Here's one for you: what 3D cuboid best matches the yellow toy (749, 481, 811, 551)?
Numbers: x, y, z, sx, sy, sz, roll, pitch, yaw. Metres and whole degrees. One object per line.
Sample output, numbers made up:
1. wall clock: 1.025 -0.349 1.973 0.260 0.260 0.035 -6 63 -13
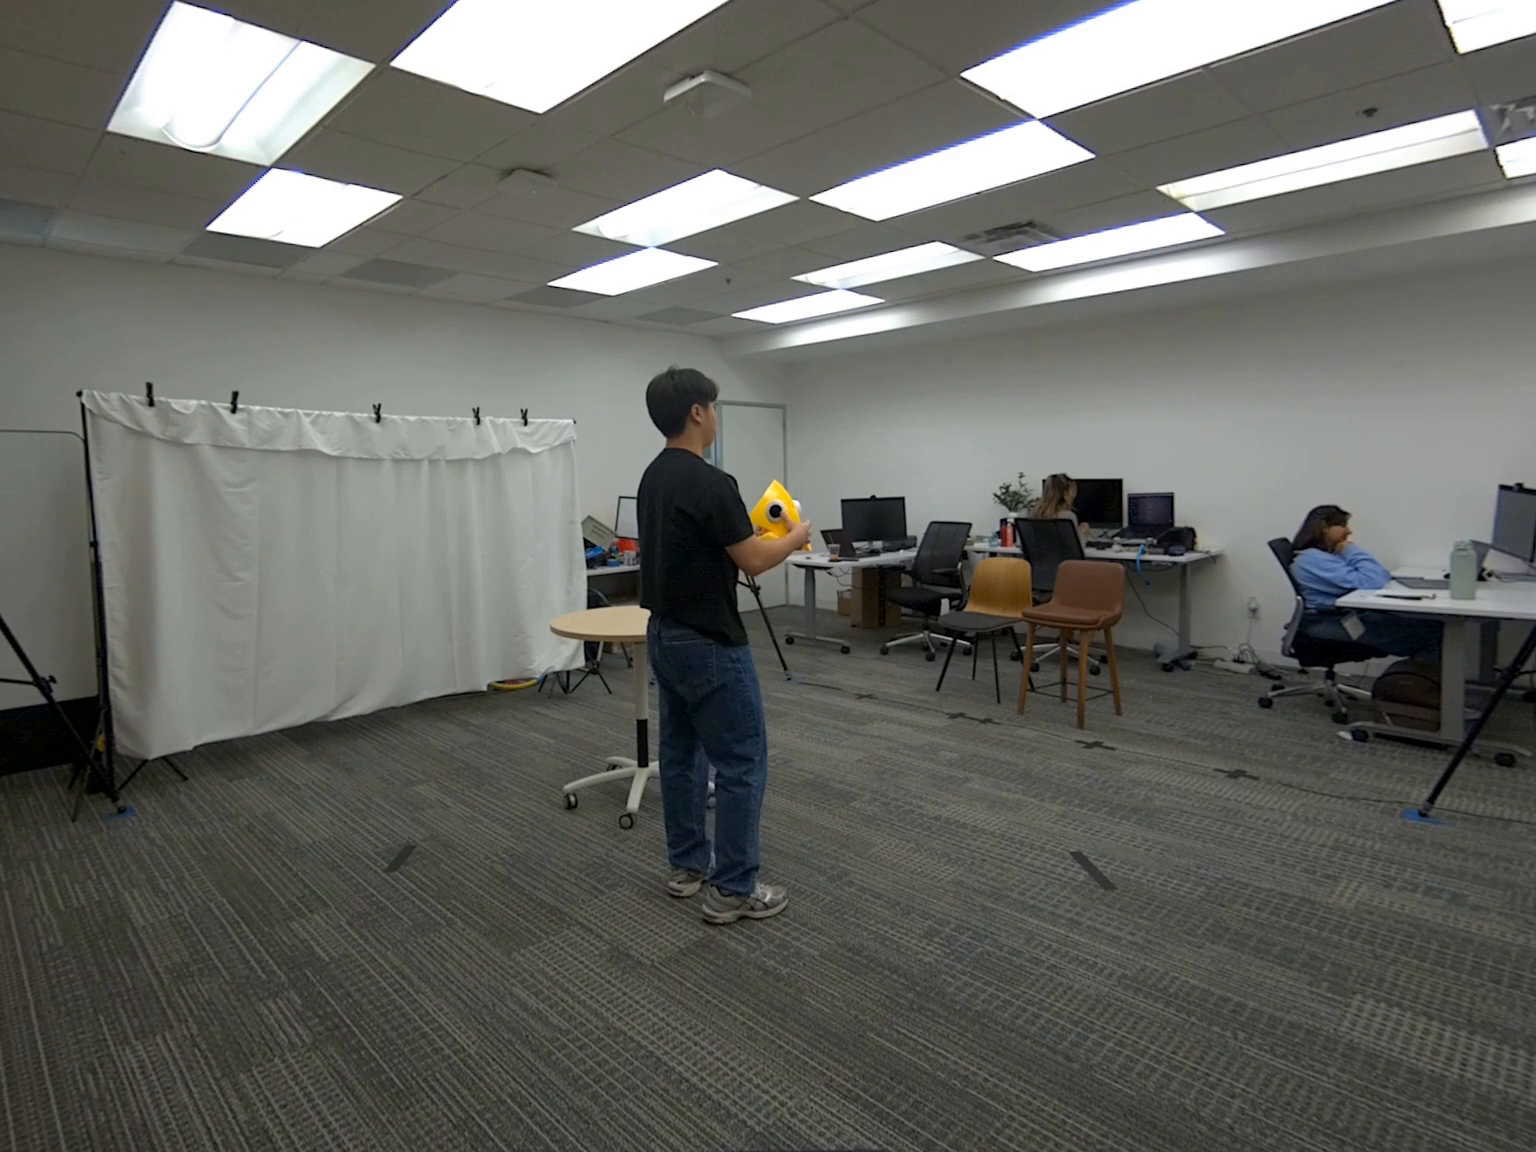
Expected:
1. yellow toy: 0.062 -0.215 2.992 0.200 0.229 0.199 13 9 40
